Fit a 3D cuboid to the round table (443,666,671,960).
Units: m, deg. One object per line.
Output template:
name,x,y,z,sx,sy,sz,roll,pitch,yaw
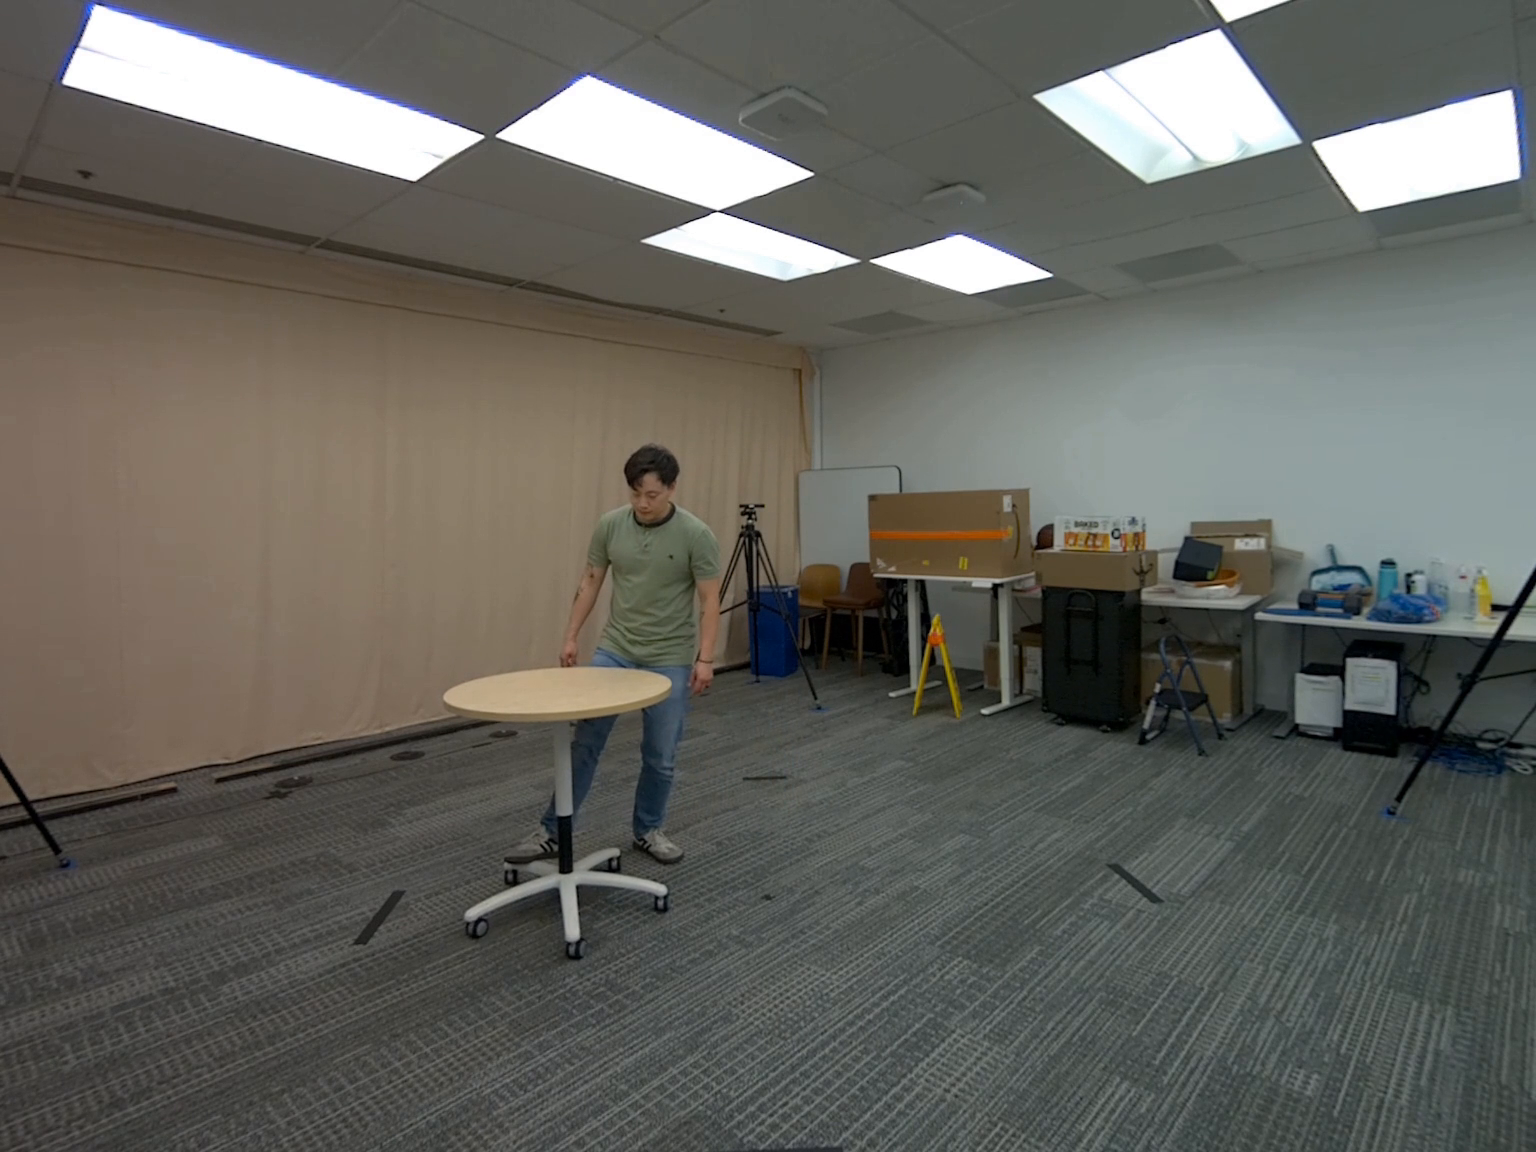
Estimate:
round table,-0.698,0.773,2.895,0.763,0.792,0.766,-2,3,-2
